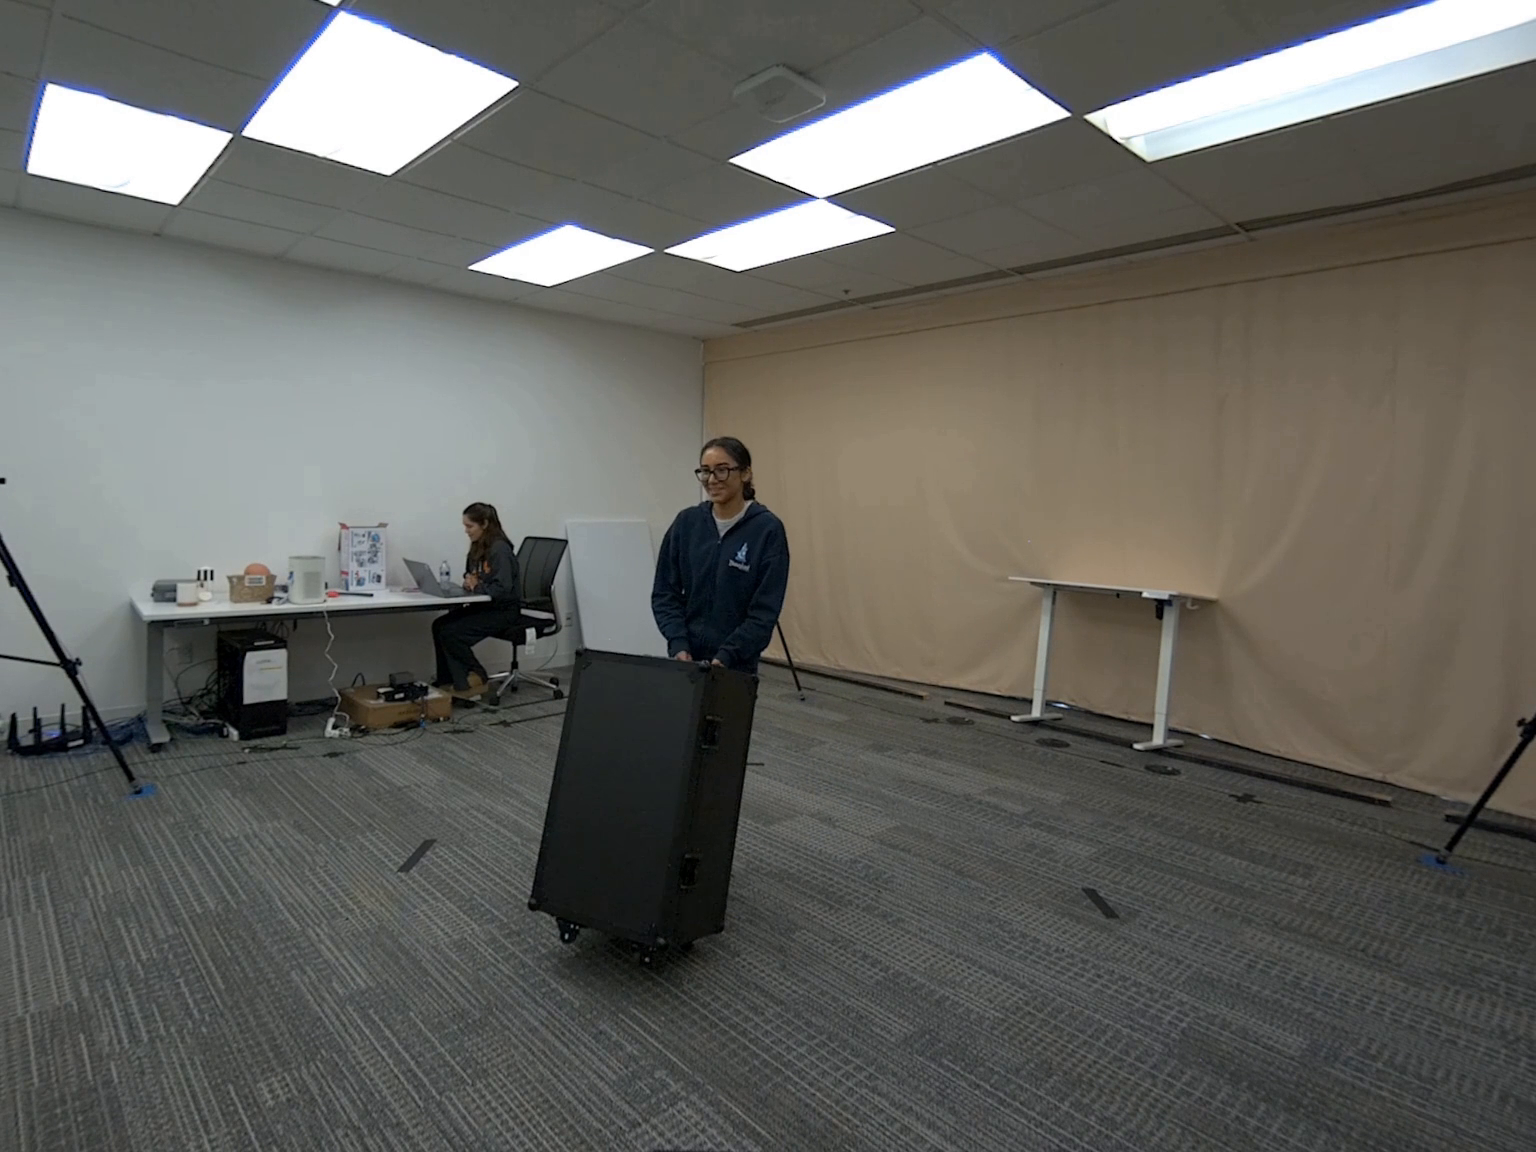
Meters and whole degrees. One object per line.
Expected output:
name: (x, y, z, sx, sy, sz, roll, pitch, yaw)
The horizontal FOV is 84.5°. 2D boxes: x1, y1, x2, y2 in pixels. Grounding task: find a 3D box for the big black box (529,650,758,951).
big black box: (-0.379, 0.694, 2.613, 0.532, 0.868, 0.385, 3, -13, 27)
